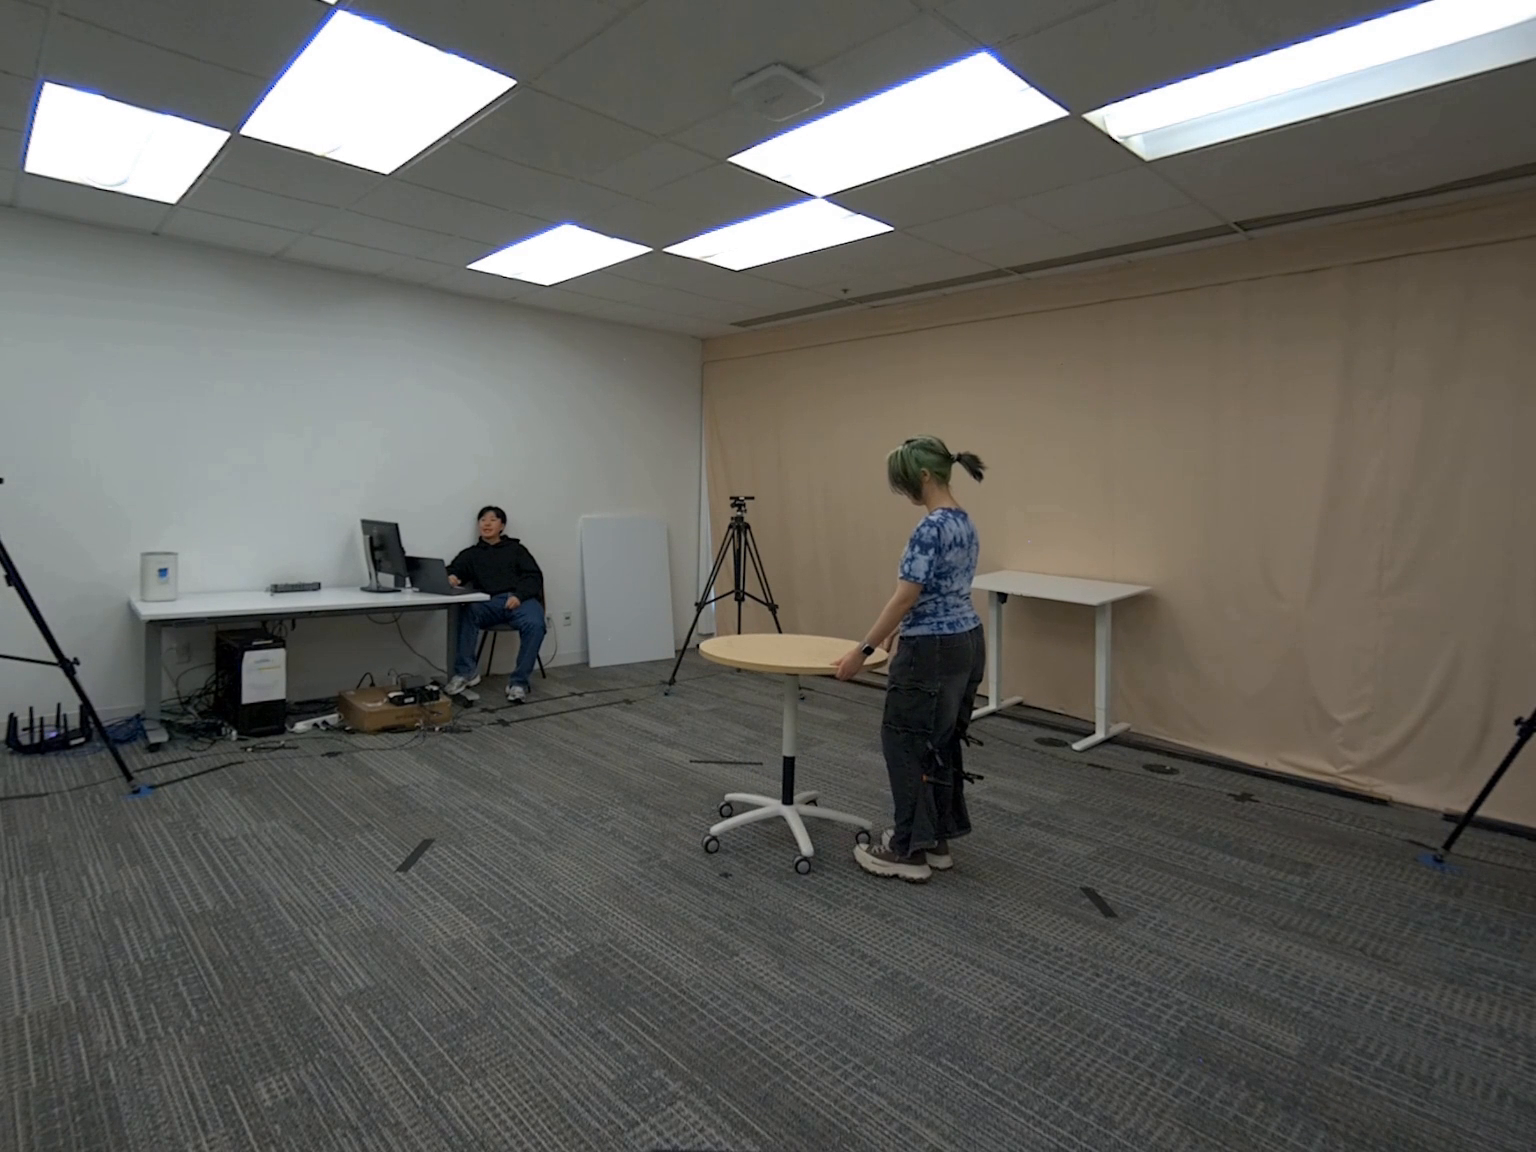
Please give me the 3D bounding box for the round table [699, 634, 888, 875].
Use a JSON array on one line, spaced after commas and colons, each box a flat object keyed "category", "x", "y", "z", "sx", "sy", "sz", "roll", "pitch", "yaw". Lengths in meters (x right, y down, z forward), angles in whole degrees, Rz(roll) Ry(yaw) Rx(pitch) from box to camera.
[{"category": "round table", "x": 0.070, "y": 0.689, "z": 3.447, "sx": 0.763, "sy": 0.792, "sz": 0.766, "roll": 2, "pitch": 4, "yaw": -1}]
